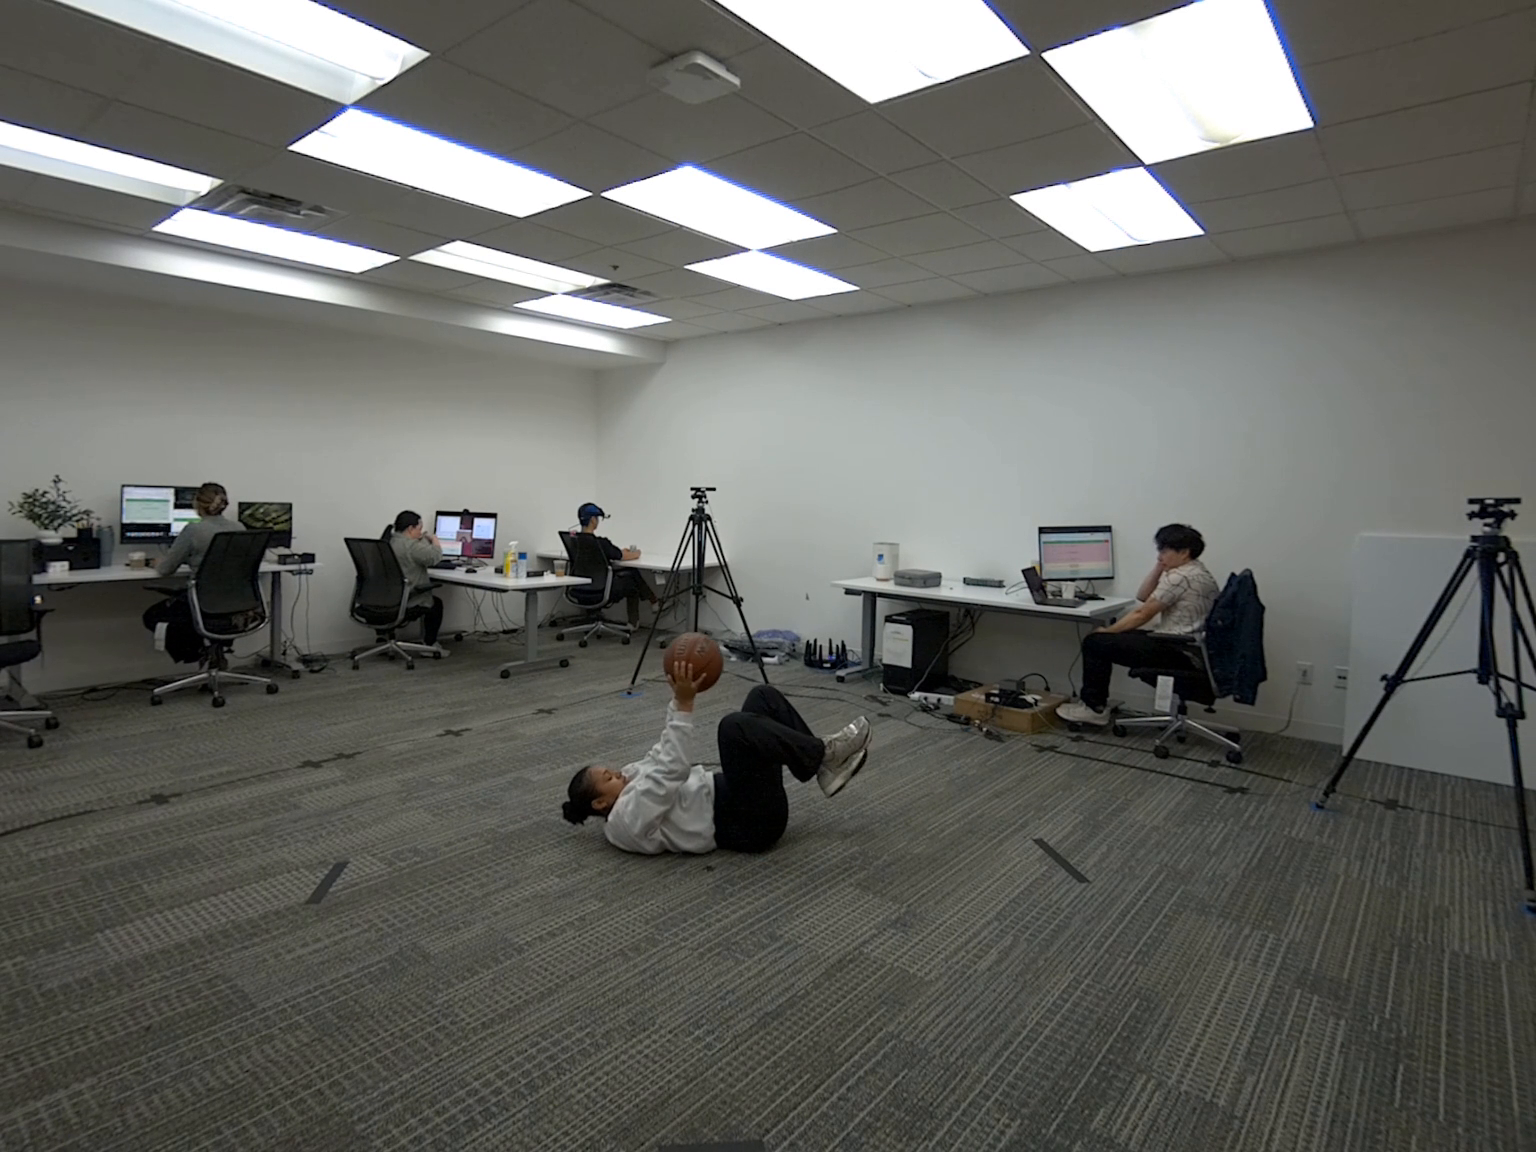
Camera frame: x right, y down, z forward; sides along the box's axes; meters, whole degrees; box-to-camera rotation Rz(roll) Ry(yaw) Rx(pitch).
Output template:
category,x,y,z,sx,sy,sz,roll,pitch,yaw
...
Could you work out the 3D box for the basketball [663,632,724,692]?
category,x,y,z,sx,sy,sz,roll,pitch,yaw
basketball,-0.309,0.346,3.366,0.235,0.235,0.237,1,4,-2
